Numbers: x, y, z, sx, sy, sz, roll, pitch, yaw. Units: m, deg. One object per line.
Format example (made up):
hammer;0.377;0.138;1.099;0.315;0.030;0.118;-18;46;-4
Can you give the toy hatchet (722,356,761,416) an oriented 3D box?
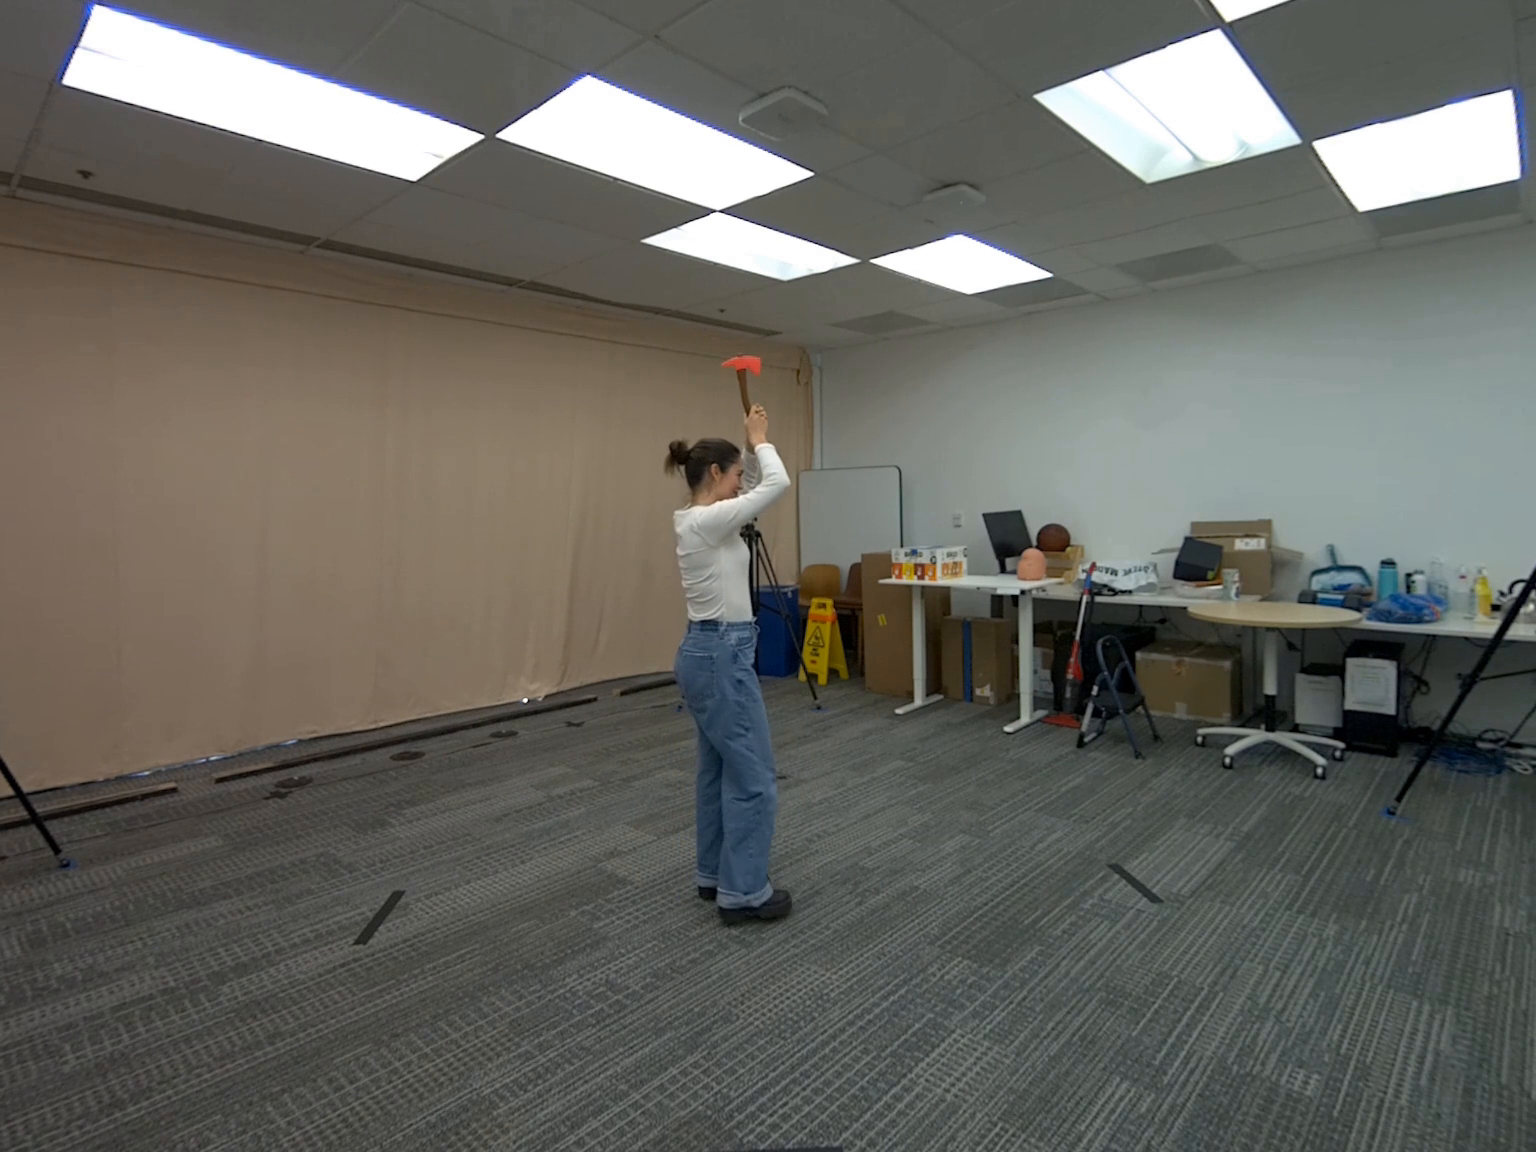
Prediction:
toy hatchet;-0.041;-0.642;2.897;0.131;0.268;0.030;-28;8;1
